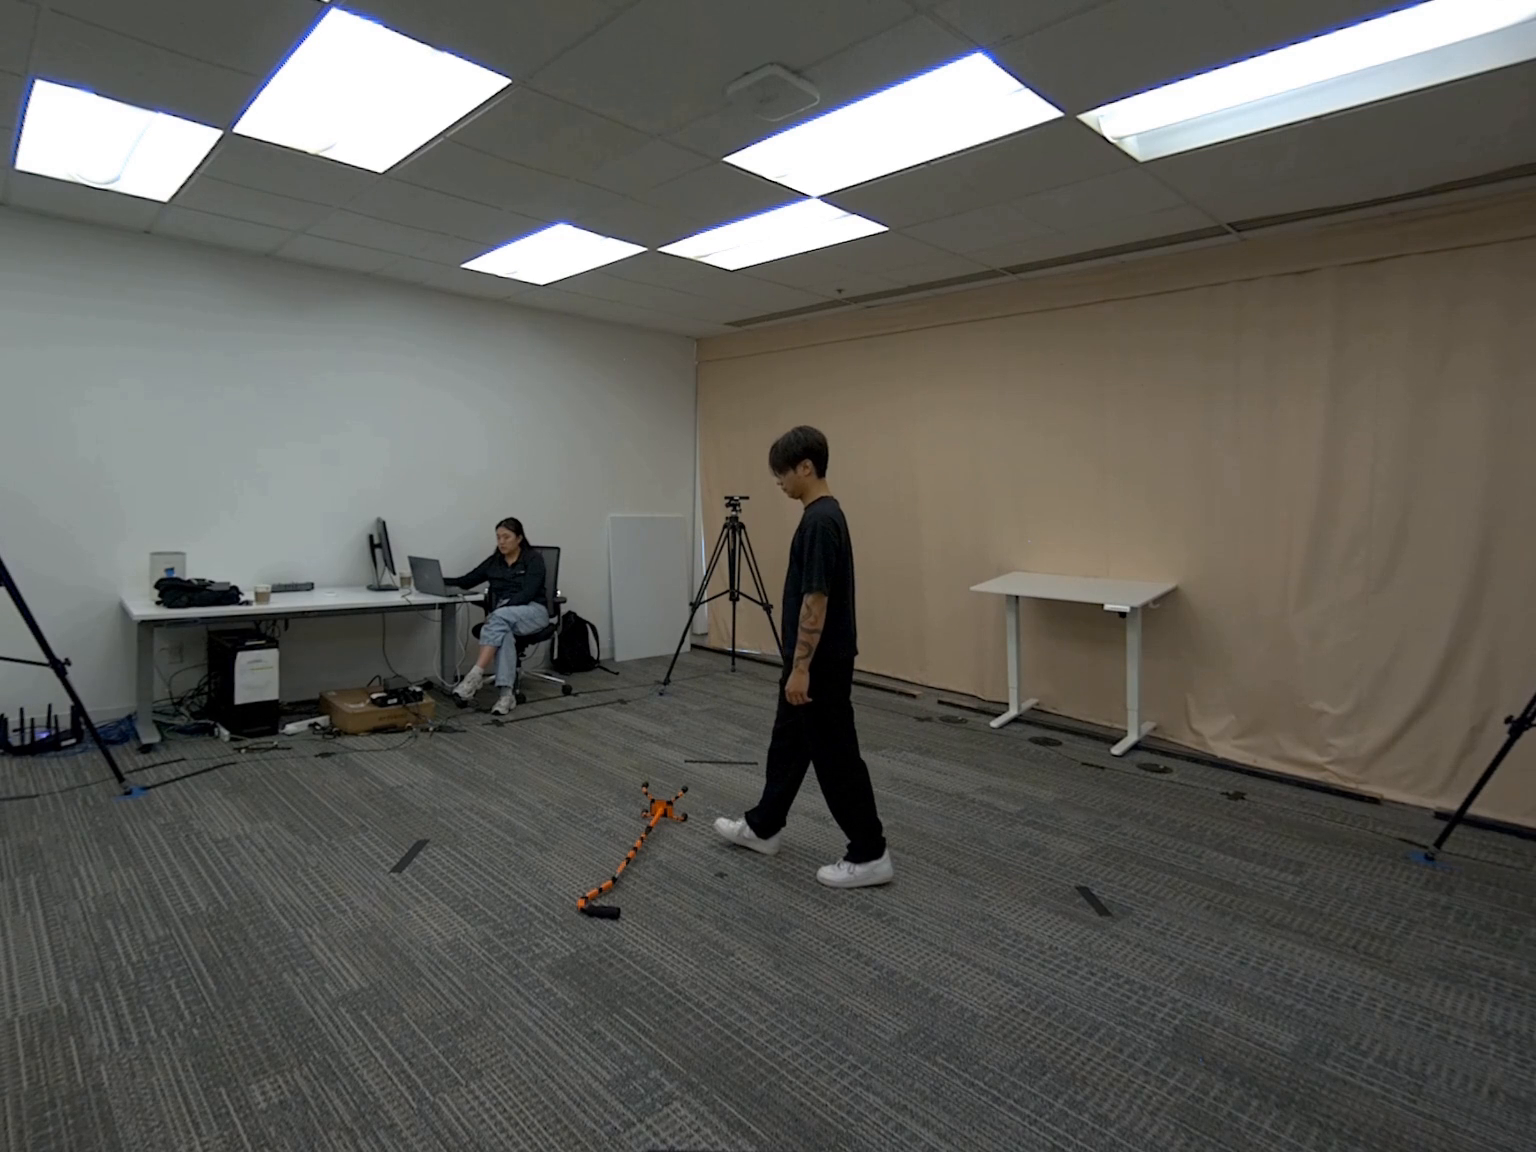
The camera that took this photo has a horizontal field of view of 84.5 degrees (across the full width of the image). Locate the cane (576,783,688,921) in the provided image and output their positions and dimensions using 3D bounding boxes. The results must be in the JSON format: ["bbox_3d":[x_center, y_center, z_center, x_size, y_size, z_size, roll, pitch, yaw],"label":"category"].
[{"bbox_3d":[-0.523,1.032,3.206,0.208,0.151,0.906,1,8,8],"label":"cane"}]
